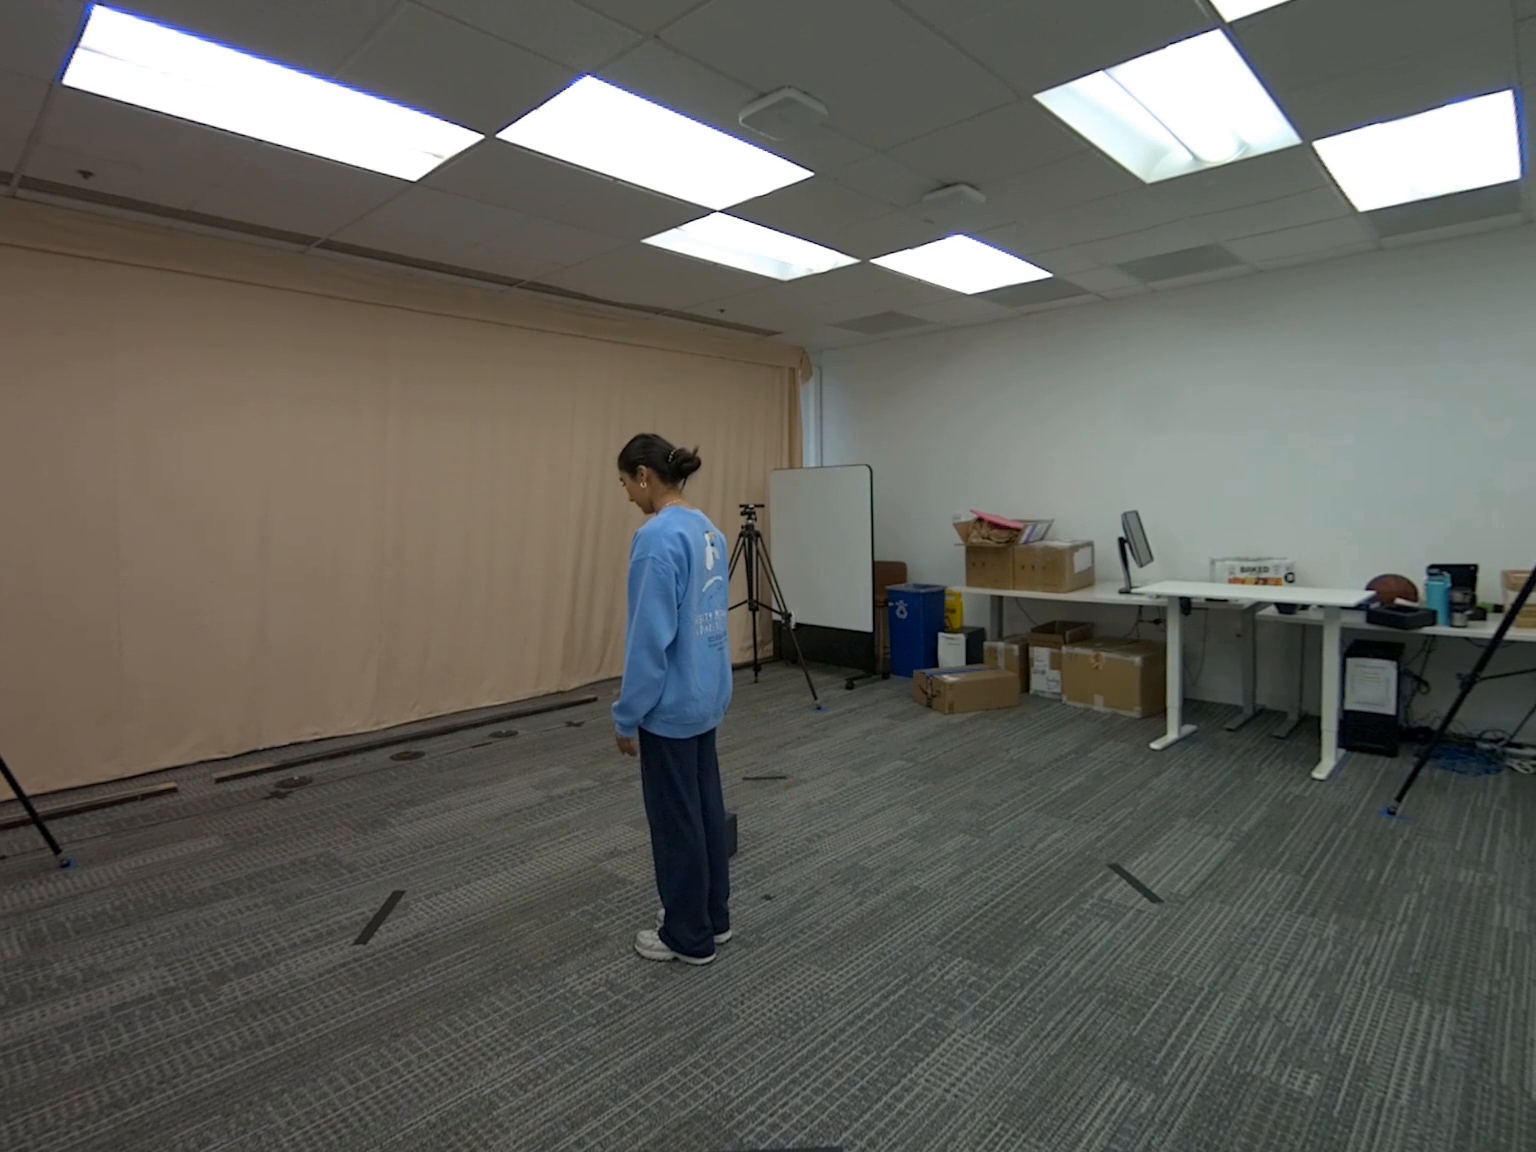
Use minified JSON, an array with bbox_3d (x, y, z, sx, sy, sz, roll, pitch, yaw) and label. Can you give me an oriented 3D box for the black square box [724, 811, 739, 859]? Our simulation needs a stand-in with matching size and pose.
[{"bbox_3d":[-0.266,1.031,3.325,0.223,0.155,0.222,0,4,27],"label":"black square box"}]
